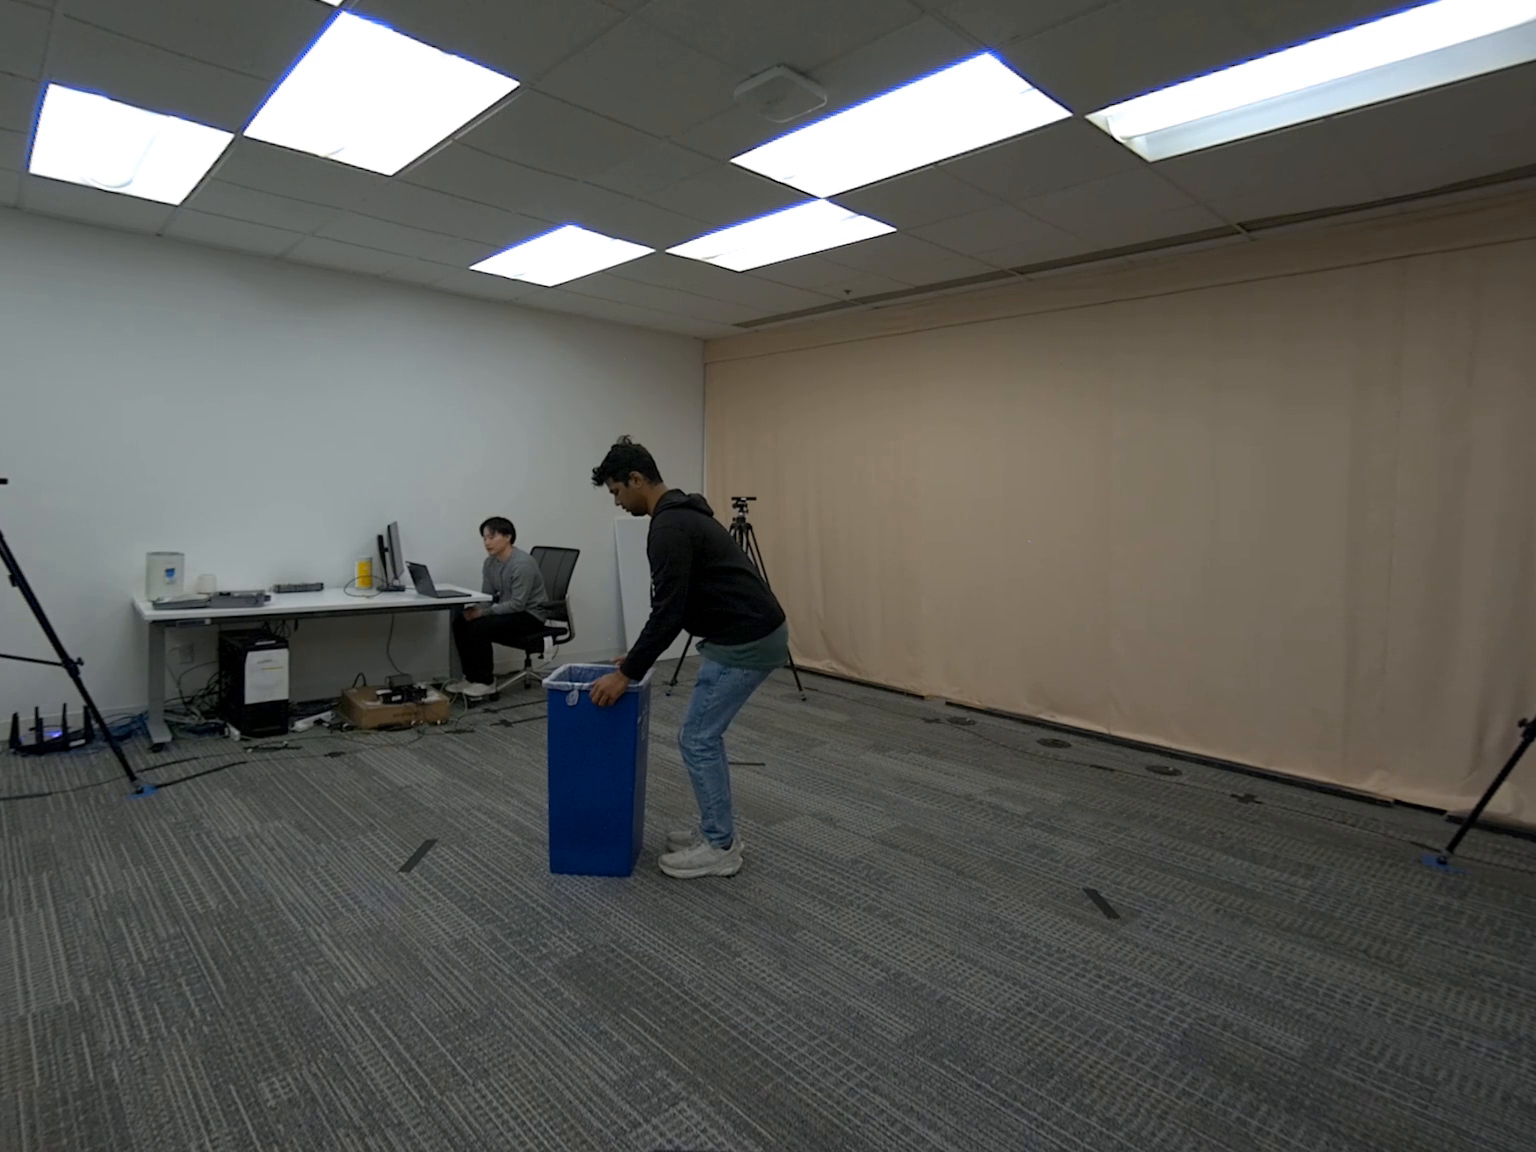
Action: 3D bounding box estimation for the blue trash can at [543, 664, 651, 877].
[{"bbox_3d":[-0.646,0.730,3.218,0.379,0.712,0.374,3,3,3],"label":"blue trash can"}]
